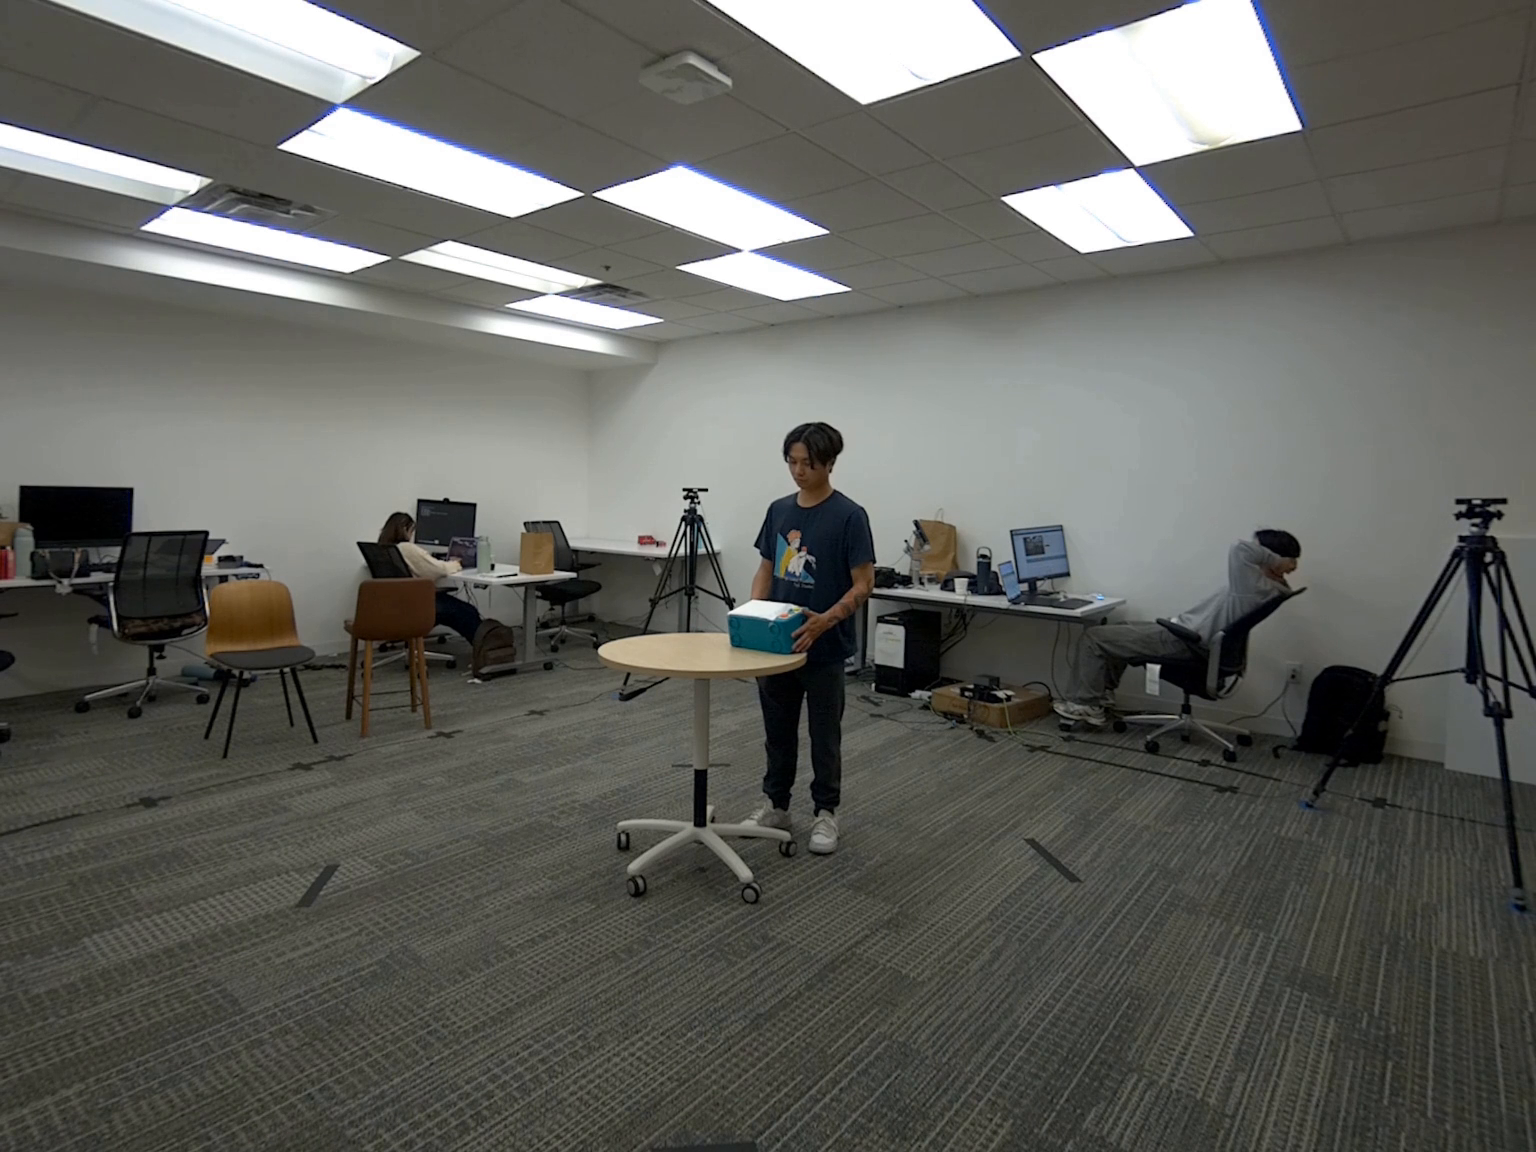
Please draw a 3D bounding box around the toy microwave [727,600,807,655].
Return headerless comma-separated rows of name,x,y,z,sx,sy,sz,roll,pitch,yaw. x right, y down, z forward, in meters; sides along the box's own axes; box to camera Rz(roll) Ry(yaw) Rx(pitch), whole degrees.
toy microwave,-0.015,0.181,3.172,0.295,0.150,0.180,3,15,37
